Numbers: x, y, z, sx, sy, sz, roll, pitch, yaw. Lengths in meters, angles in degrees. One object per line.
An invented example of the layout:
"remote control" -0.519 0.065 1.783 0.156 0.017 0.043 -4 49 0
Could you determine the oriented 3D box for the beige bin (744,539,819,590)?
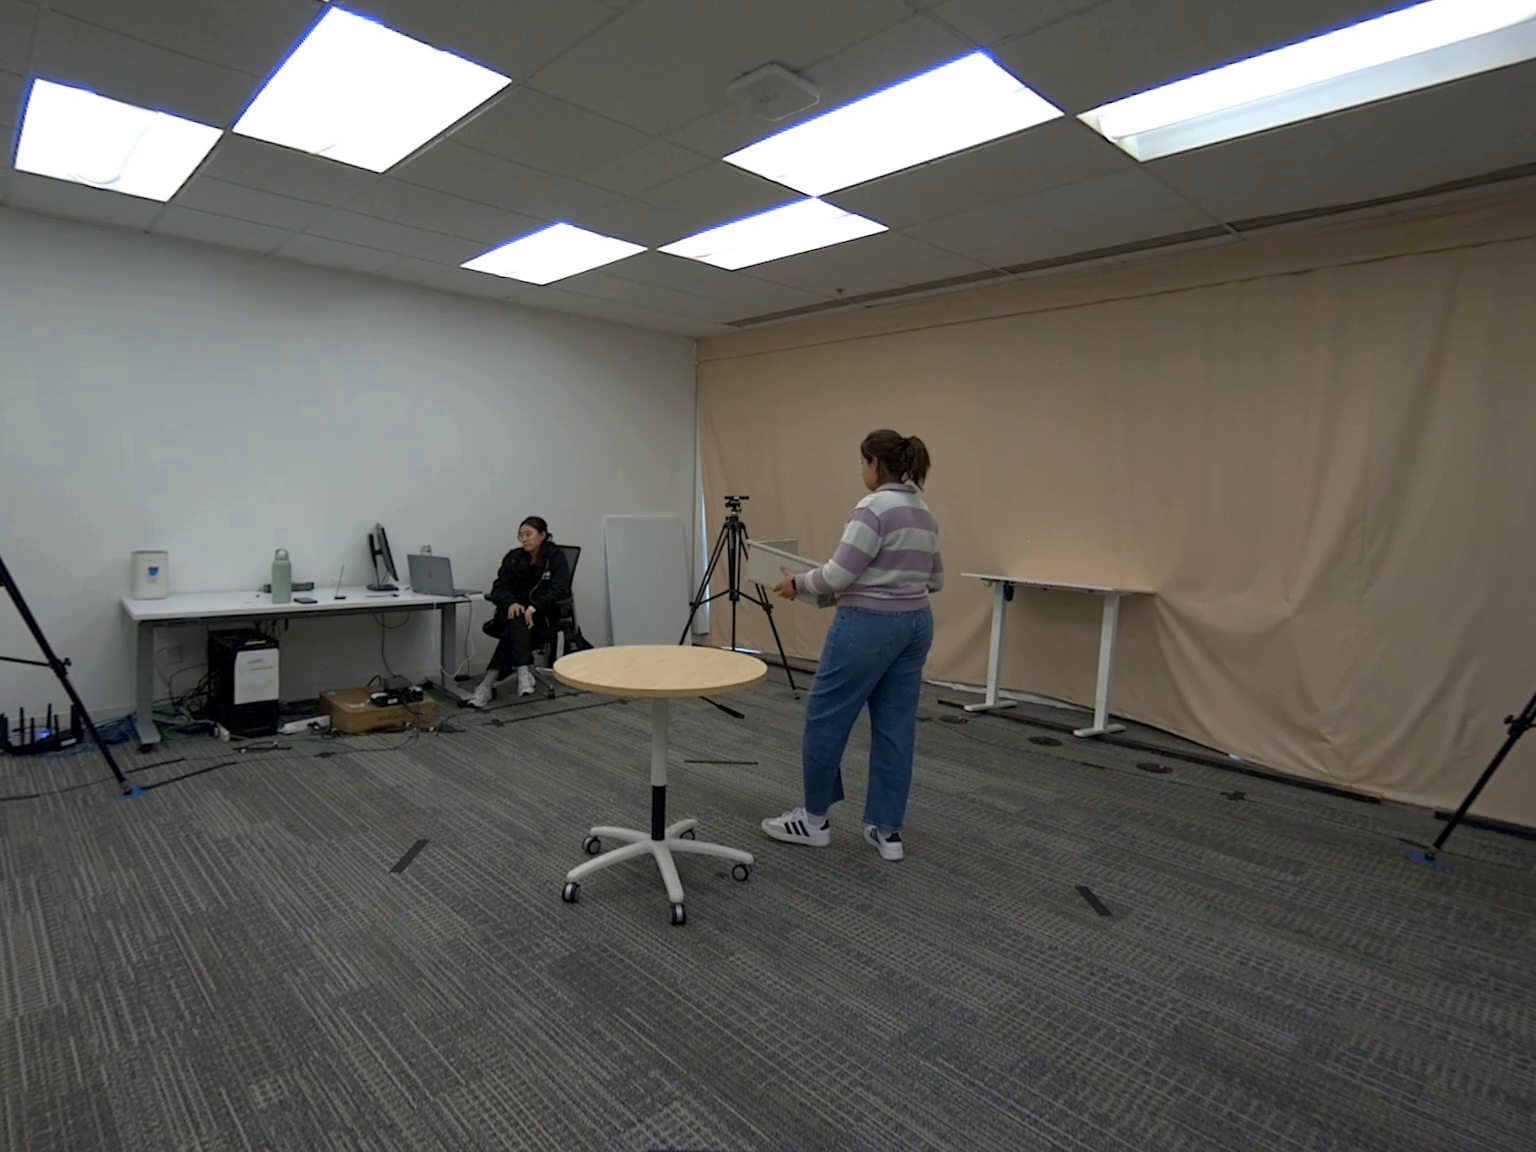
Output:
"beige bin" 0.161 -0.025 3.617 0.435 0.187 0.369 19 18 38
